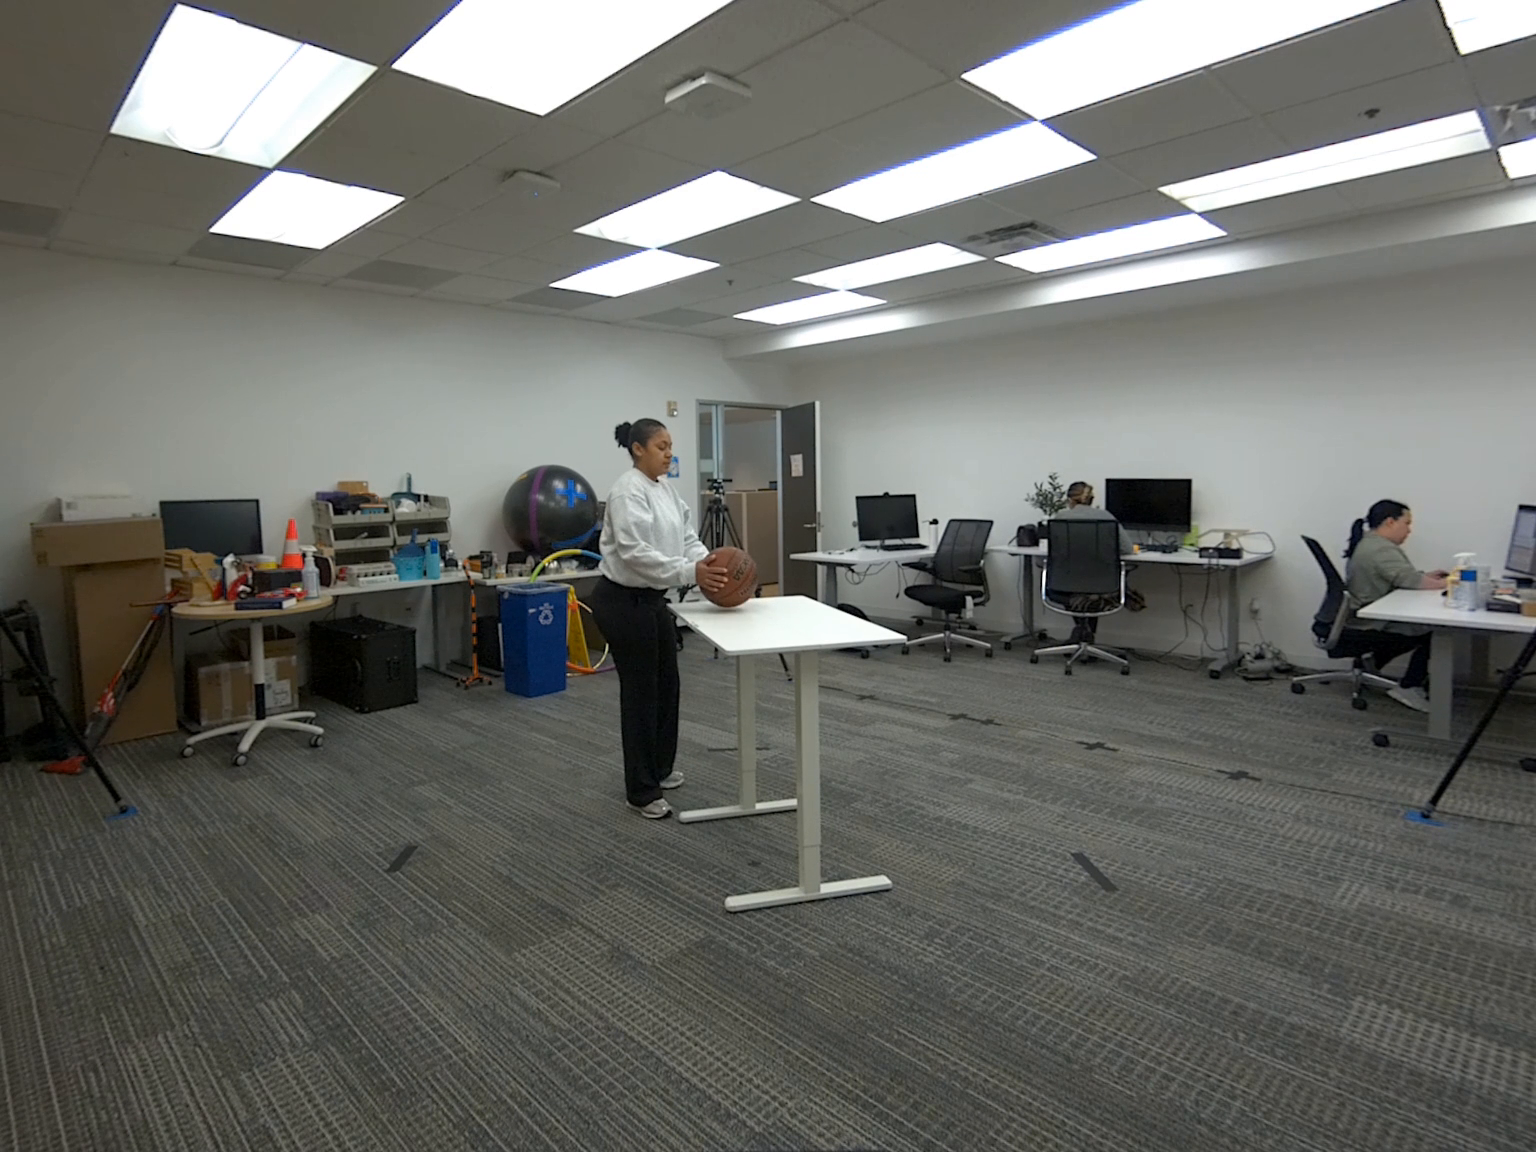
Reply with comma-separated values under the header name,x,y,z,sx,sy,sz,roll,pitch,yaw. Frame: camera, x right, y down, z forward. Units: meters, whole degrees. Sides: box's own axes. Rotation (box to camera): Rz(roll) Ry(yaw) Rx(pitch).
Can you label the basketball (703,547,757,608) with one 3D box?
name,x,y,z,sx,sy,sz,roll,pitch,yaw
basketball,-0.166,-0.003,3.357,0.236,0.235,0.237,-1,5,-2
